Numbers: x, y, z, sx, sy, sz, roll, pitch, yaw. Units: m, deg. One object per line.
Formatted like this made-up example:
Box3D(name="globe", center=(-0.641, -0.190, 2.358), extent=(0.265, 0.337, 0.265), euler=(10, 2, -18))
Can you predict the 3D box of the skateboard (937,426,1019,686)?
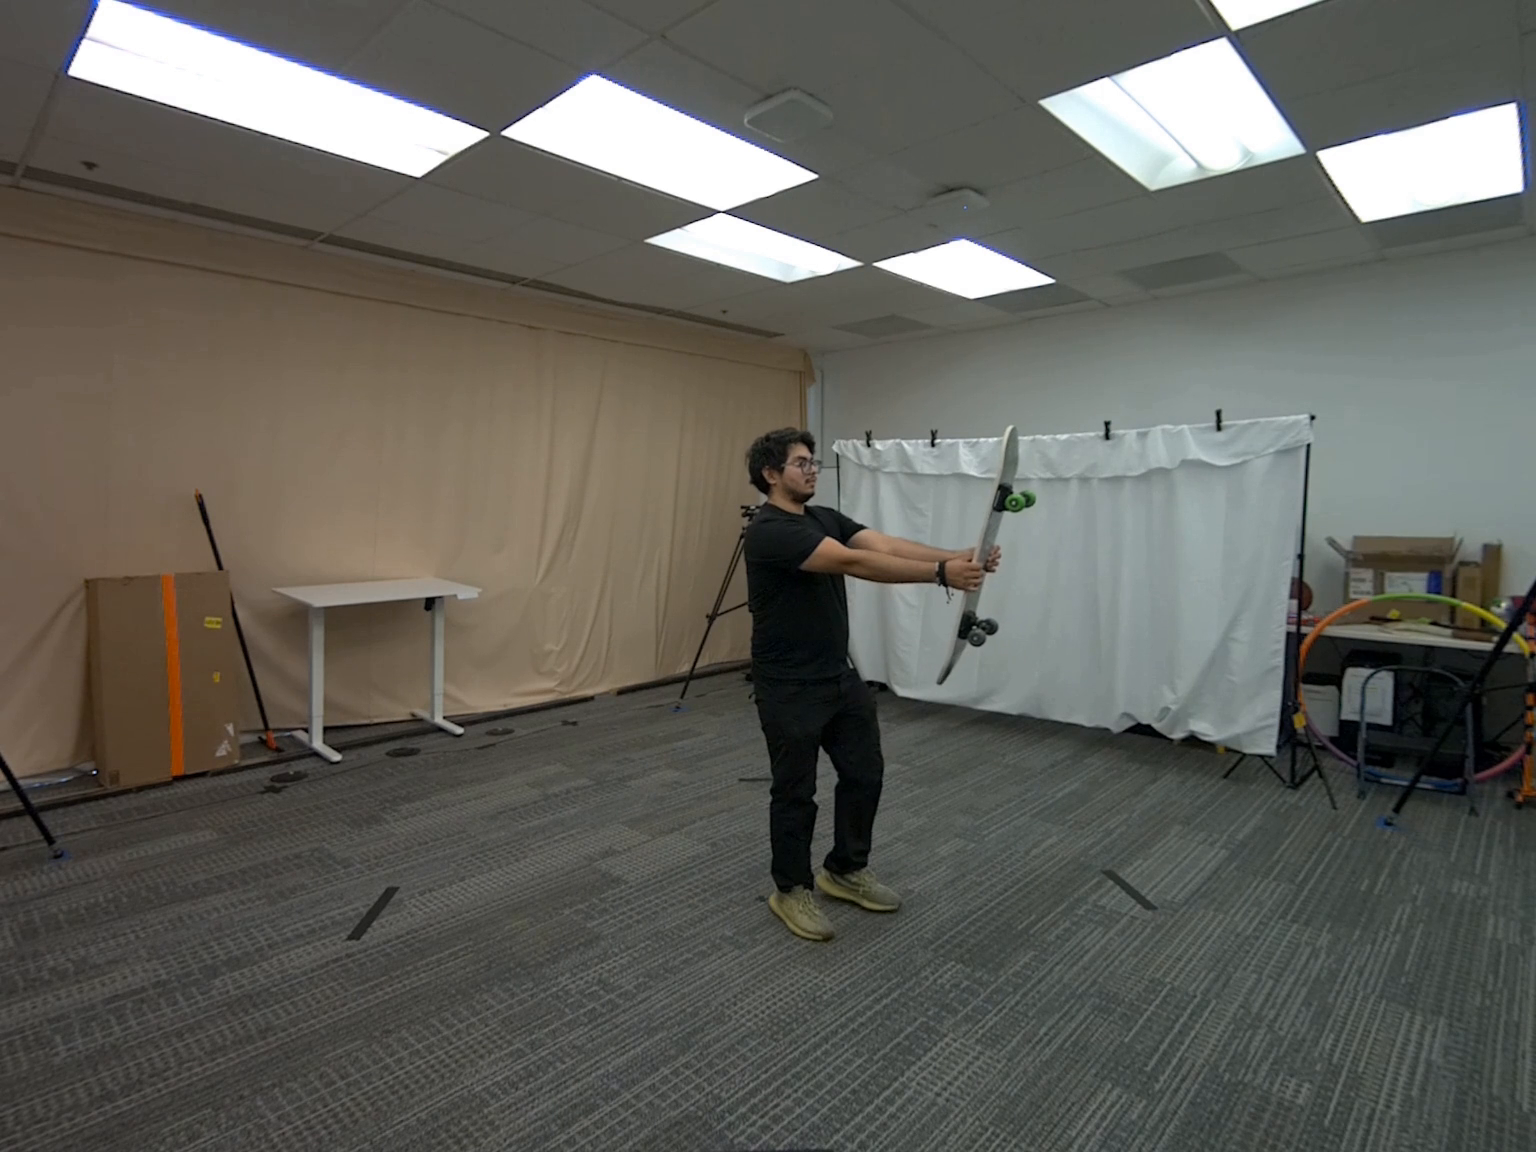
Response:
Box3D(name="skateboard", center=(0.655, -0.029, 2.426), extent=(0.114, 0.780, 0.189), euler=(19, 17, 27))
